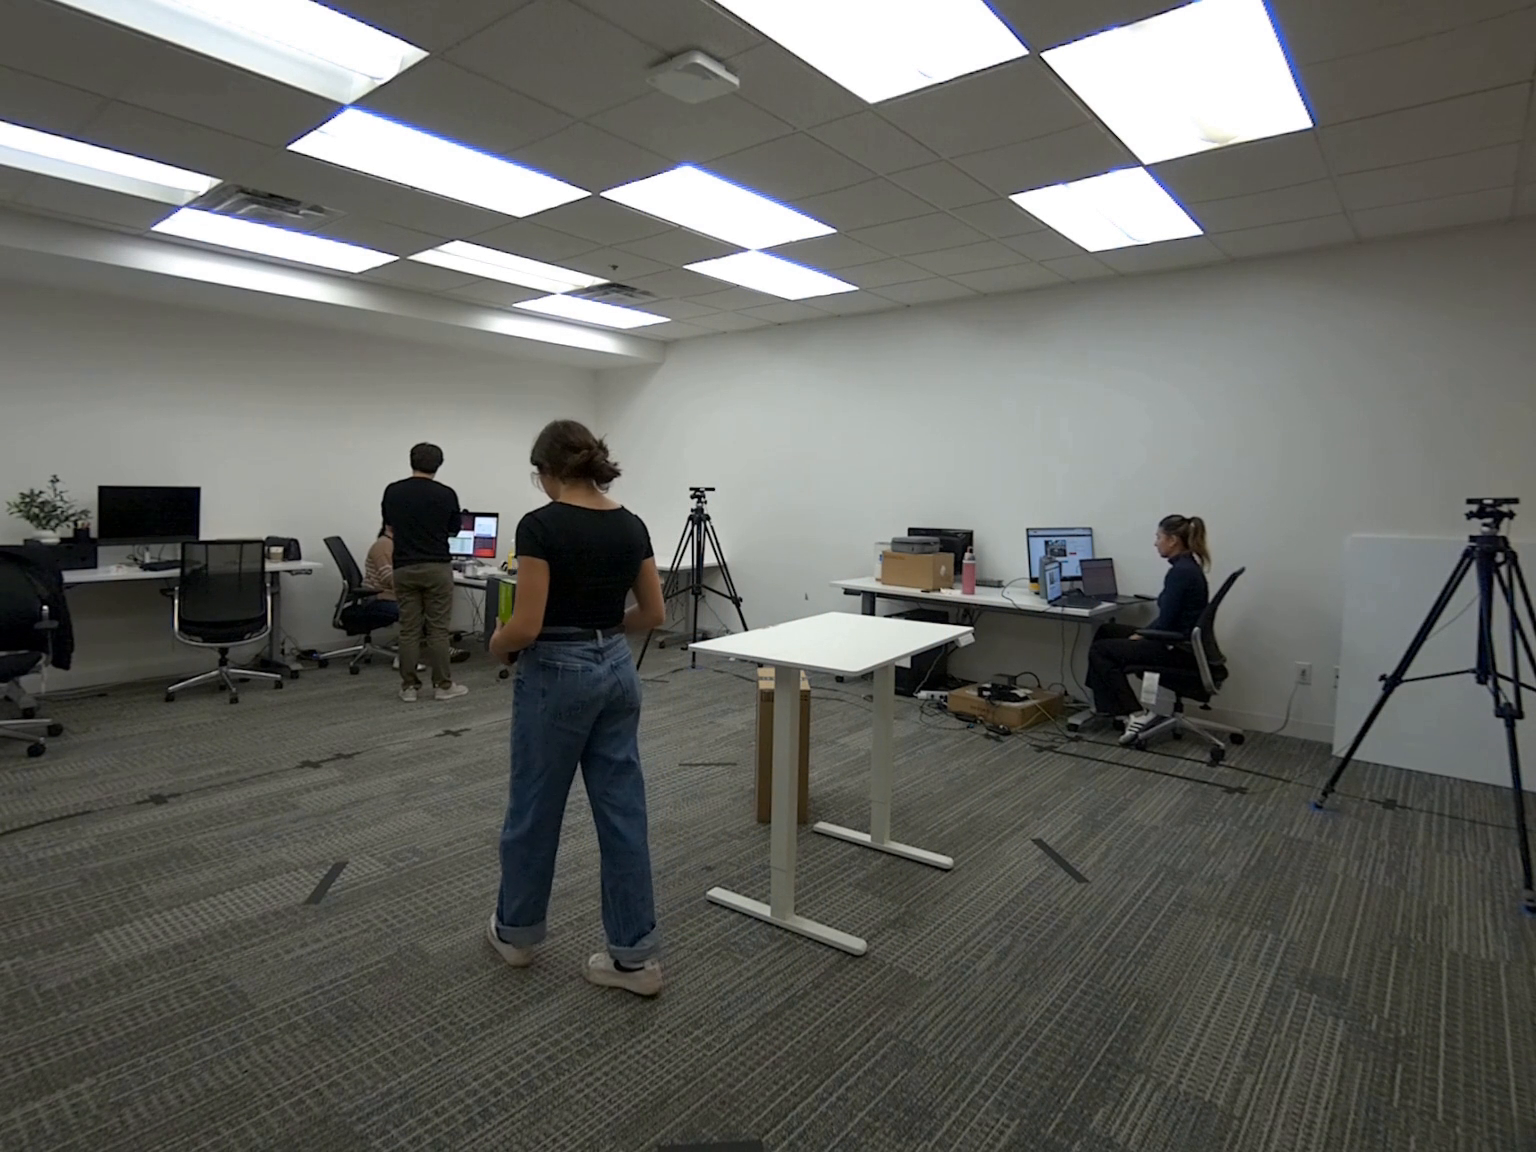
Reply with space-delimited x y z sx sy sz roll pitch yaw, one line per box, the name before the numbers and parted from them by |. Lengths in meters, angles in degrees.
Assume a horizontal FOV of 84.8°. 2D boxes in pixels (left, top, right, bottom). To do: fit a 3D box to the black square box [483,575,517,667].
black square box | -0.727 0.111 2.568 0.161 0.227 0.210 8 8 42
